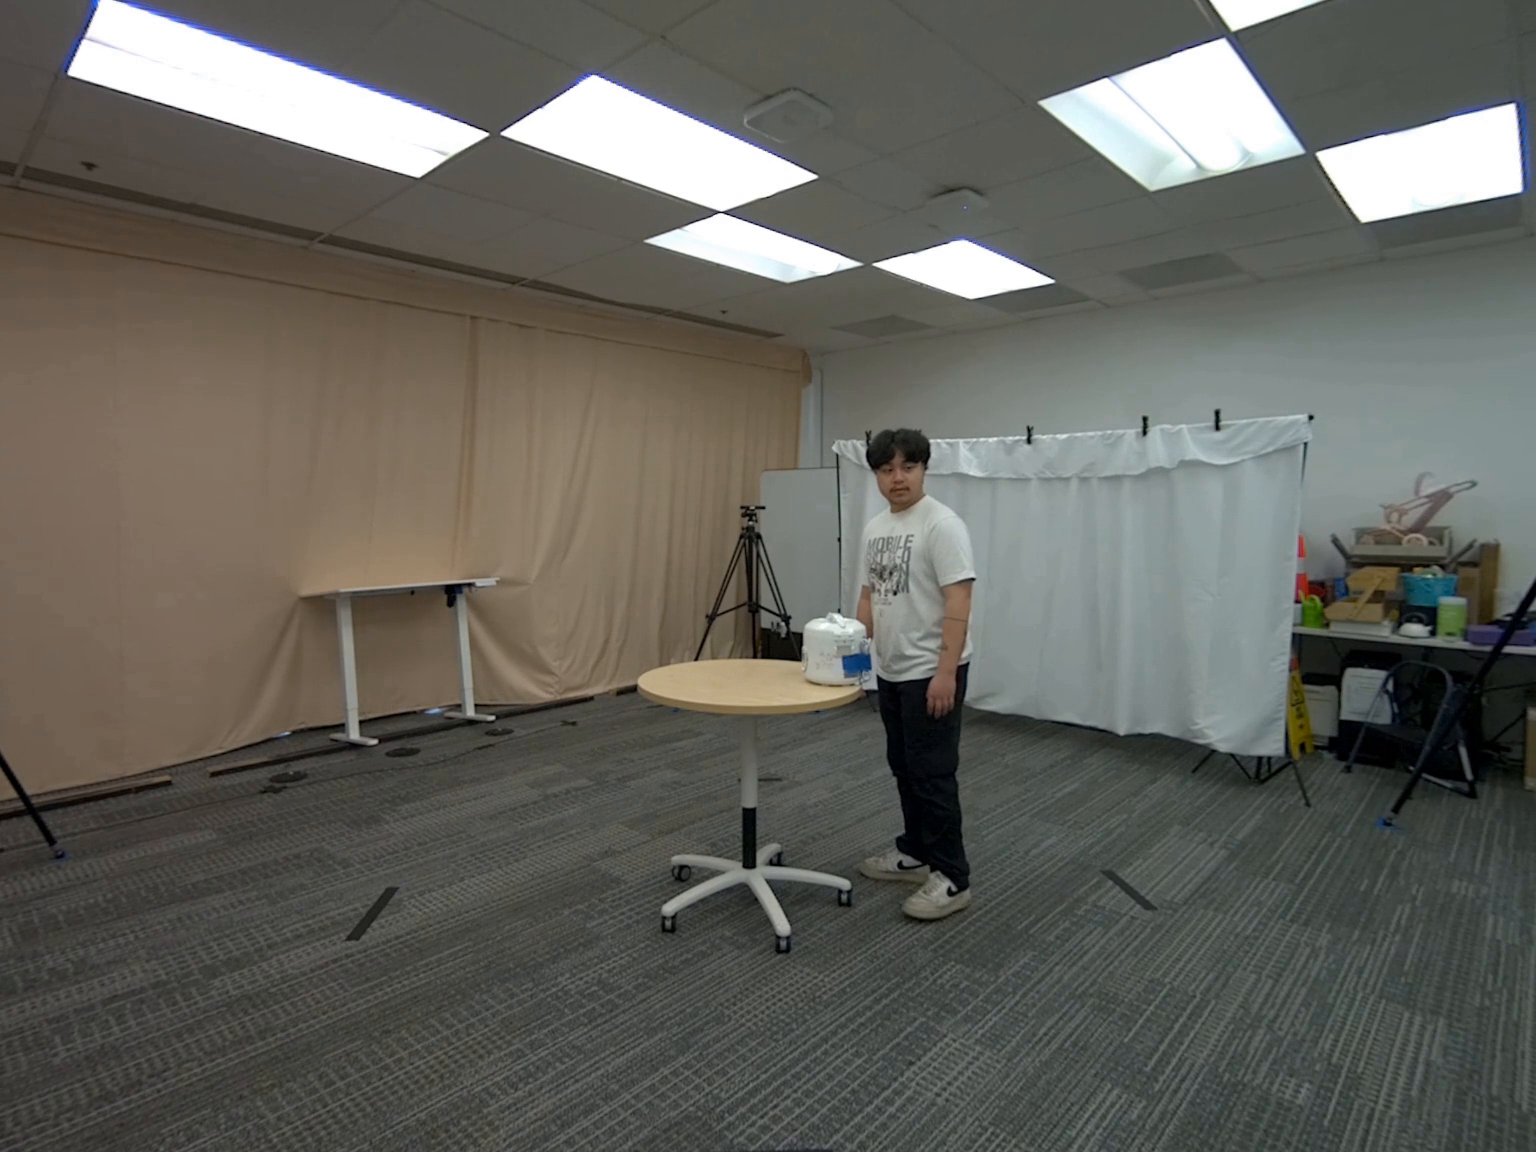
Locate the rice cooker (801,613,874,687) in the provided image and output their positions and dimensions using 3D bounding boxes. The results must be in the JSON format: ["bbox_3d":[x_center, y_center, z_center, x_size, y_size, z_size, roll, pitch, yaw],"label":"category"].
[{"bbox_3d":[0.229,0.245,2.857,0.215,0.232,0.223,1,3,-9],"label":"rice cooker"}]
